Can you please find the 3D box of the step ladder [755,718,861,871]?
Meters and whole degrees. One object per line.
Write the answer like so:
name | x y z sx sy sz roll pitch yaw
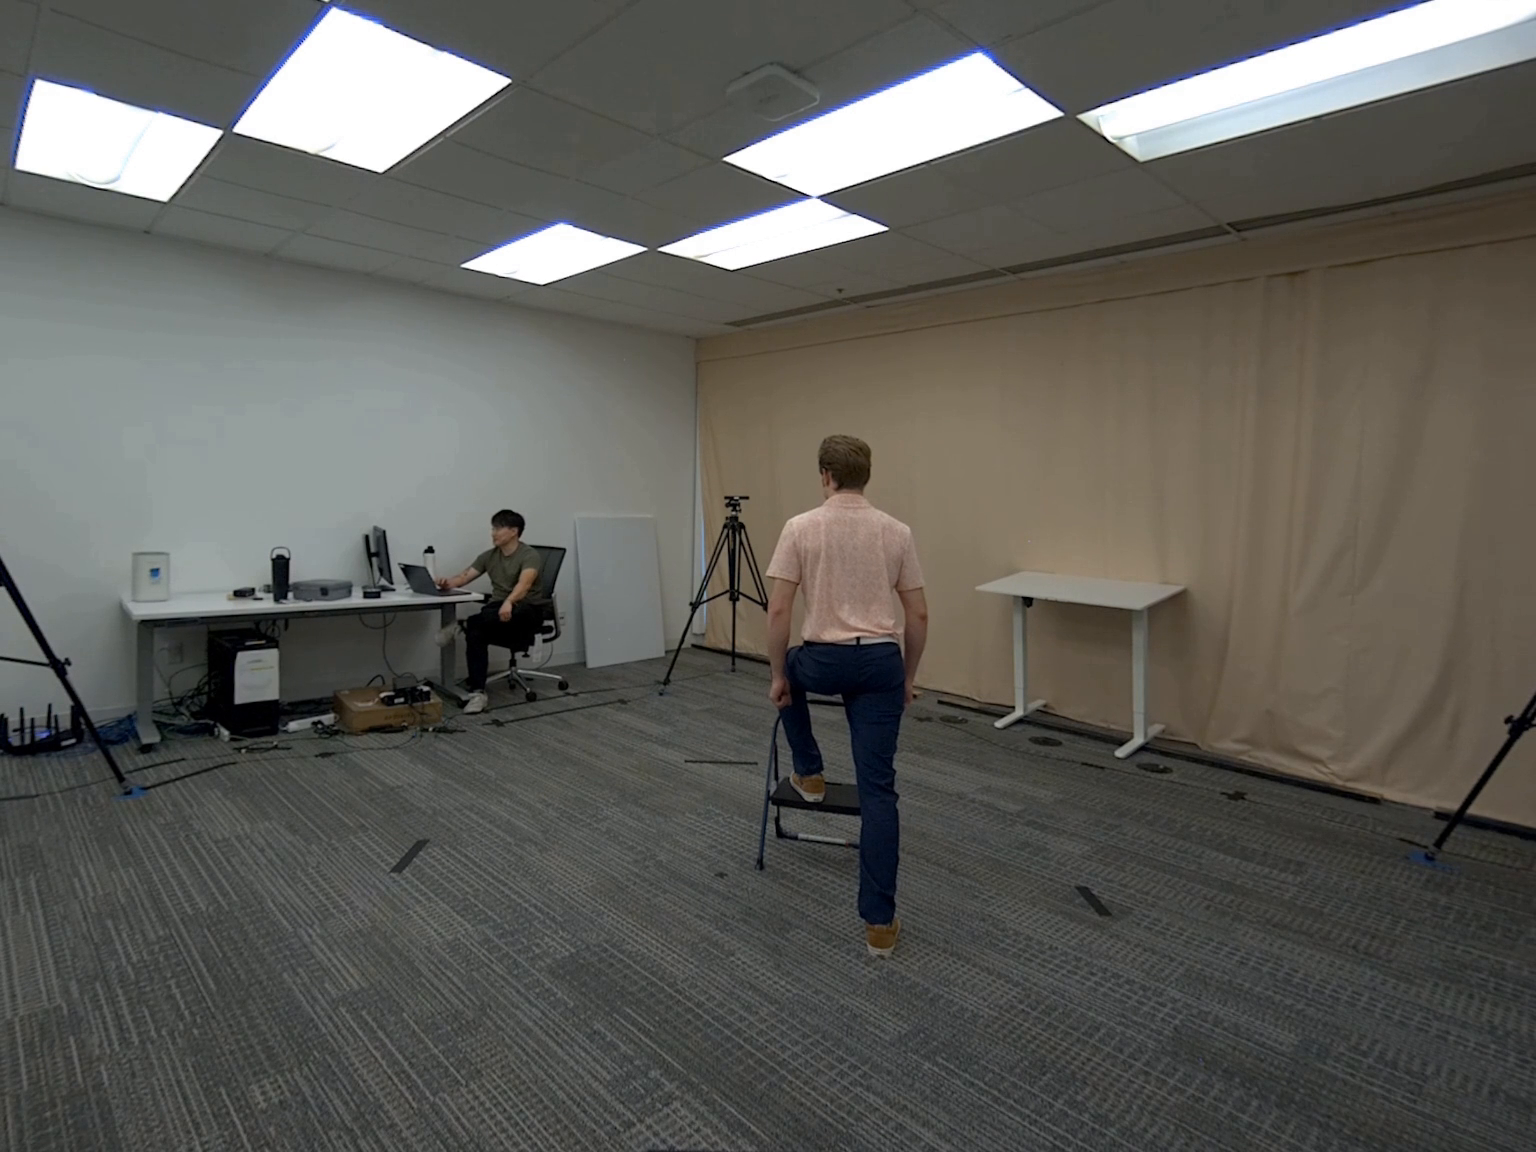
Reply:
step ladder | 0.199 0.796 3.252 0.436 0.605 0.346 3 3 15
